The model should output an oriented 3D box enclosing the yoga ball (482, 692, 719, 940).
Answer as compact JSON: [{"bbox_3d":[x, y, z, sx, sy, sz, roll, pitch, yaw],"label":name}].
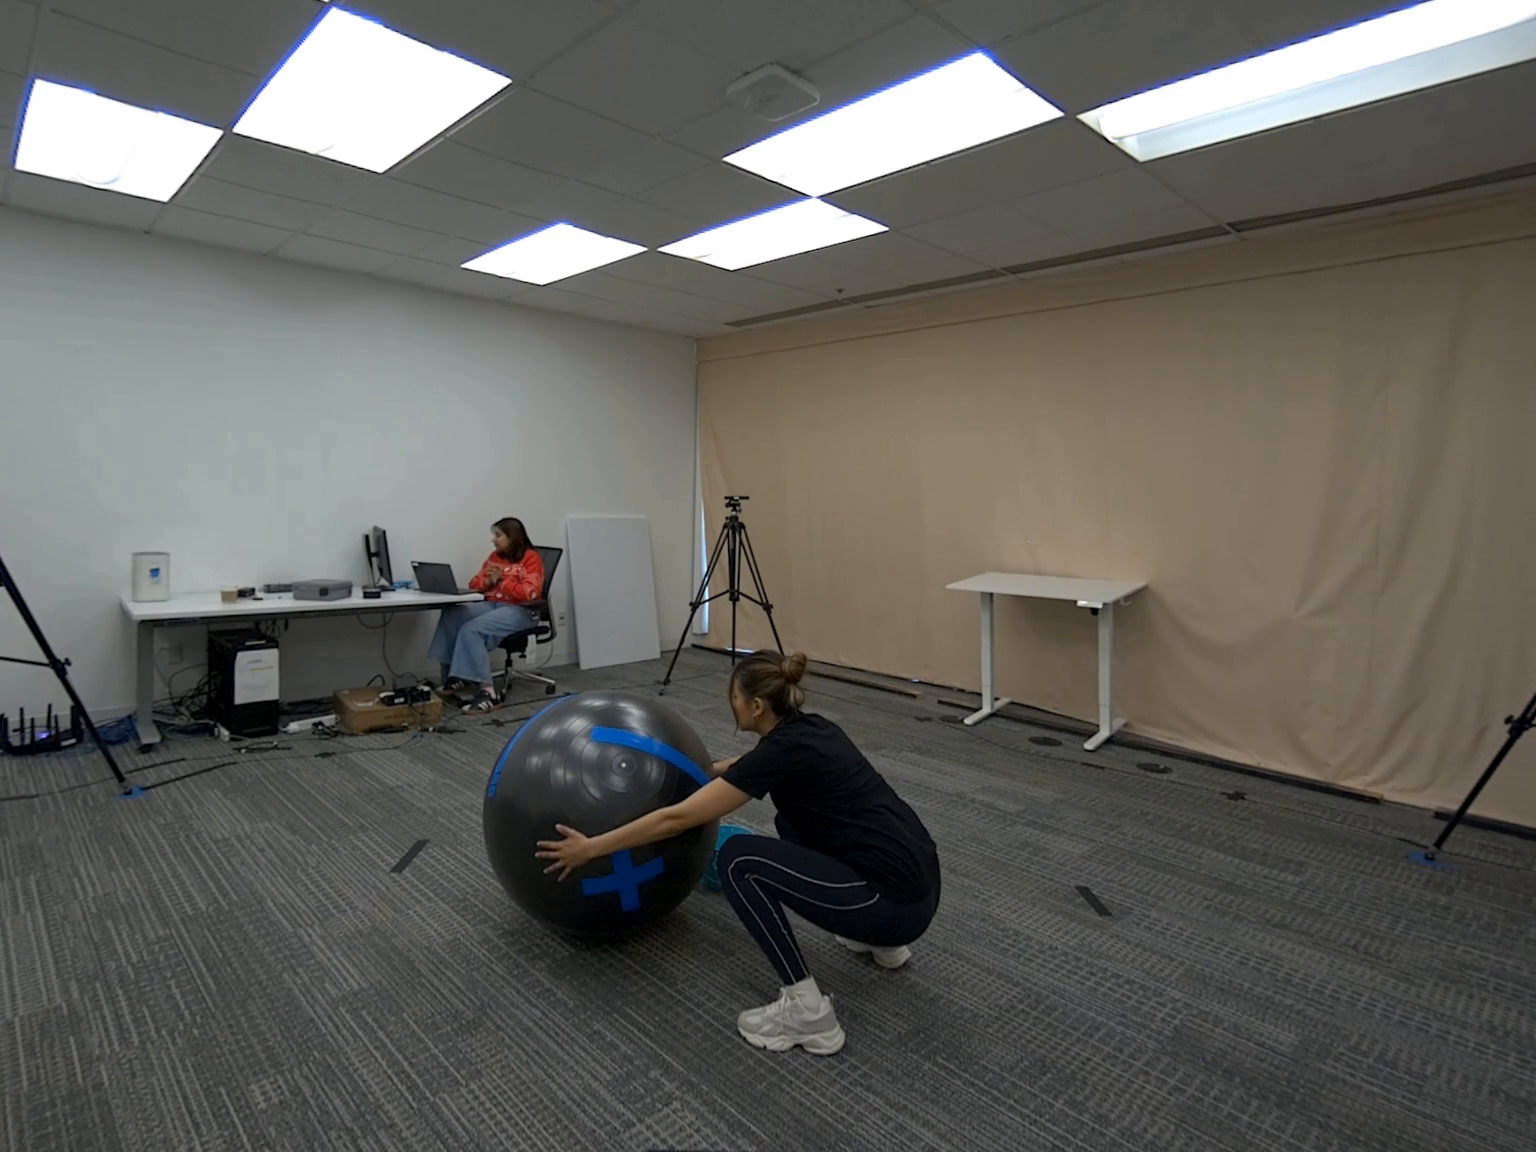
[{"bbox_3d":[-0.536,0.755,2.723,0.757,0.756,0.761,1,4,-1],"label":"yoga ball"}]
